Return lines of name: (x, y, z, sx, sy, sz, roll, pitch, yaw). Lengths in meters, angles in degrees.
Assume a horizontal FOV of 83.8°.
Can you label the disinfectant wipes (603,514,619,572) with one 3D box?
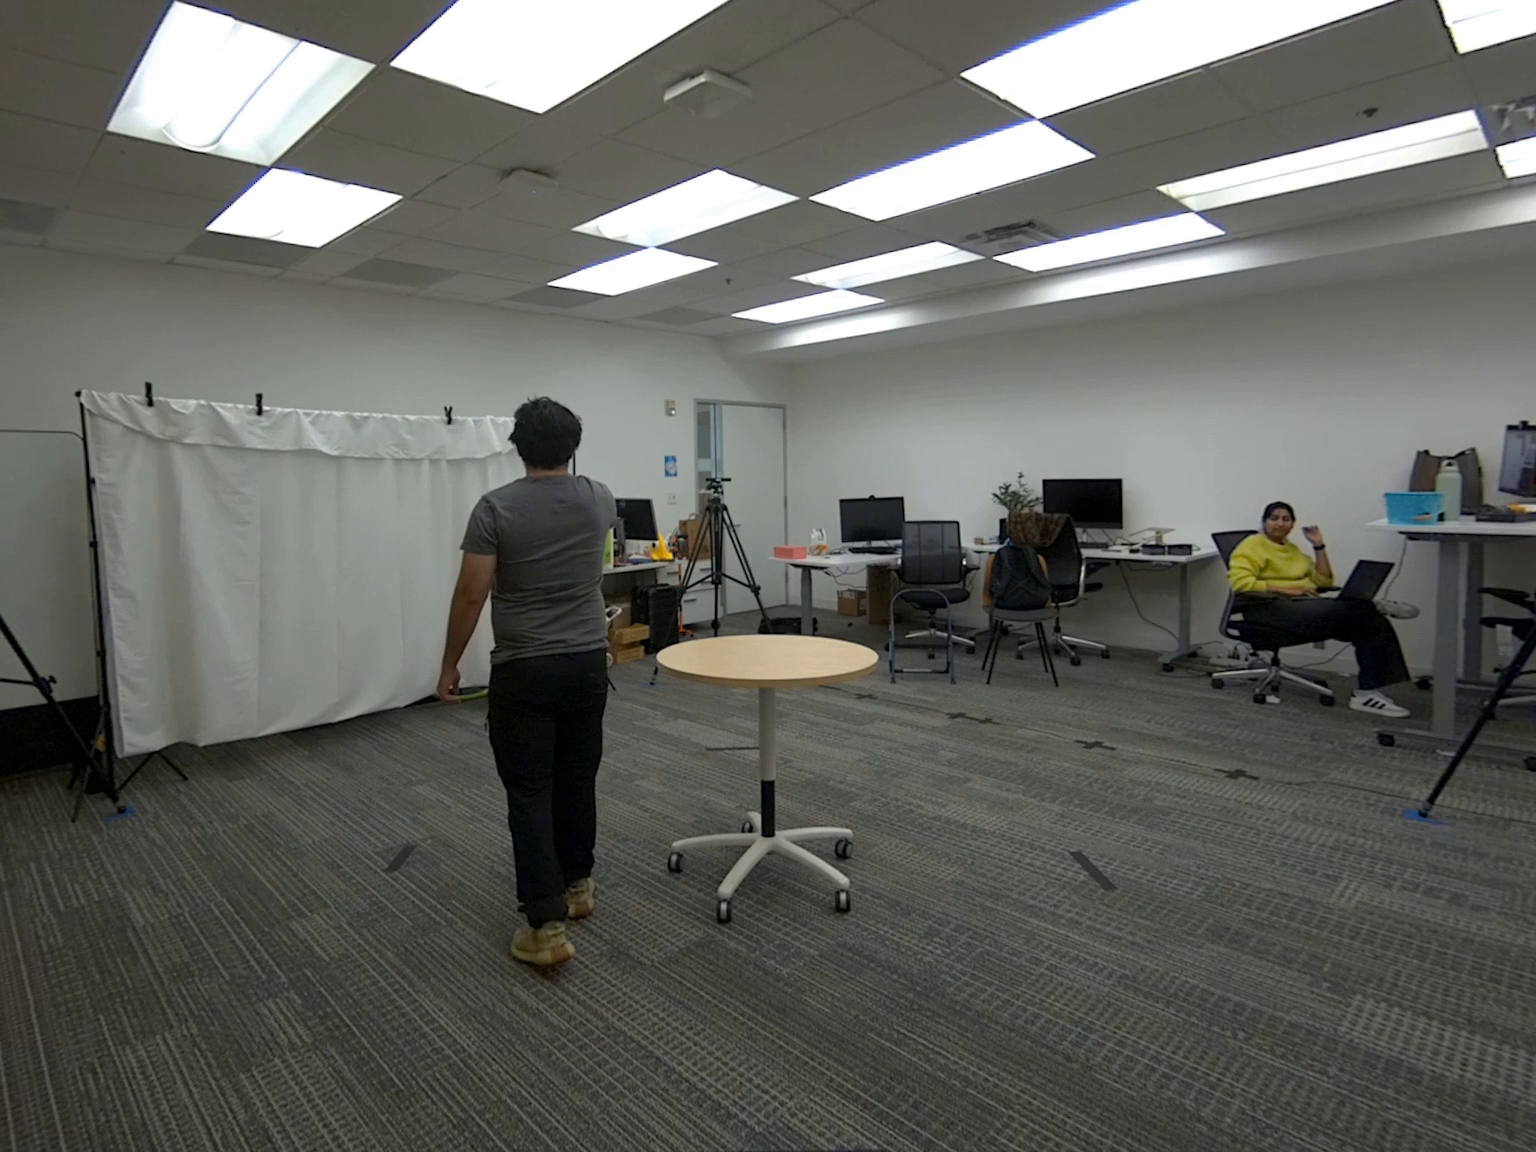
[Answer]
disinfectant wipes: (-0.650, -0.132, 3.322, 0.118, 0.217, 0.118, 2, 3, -2)
